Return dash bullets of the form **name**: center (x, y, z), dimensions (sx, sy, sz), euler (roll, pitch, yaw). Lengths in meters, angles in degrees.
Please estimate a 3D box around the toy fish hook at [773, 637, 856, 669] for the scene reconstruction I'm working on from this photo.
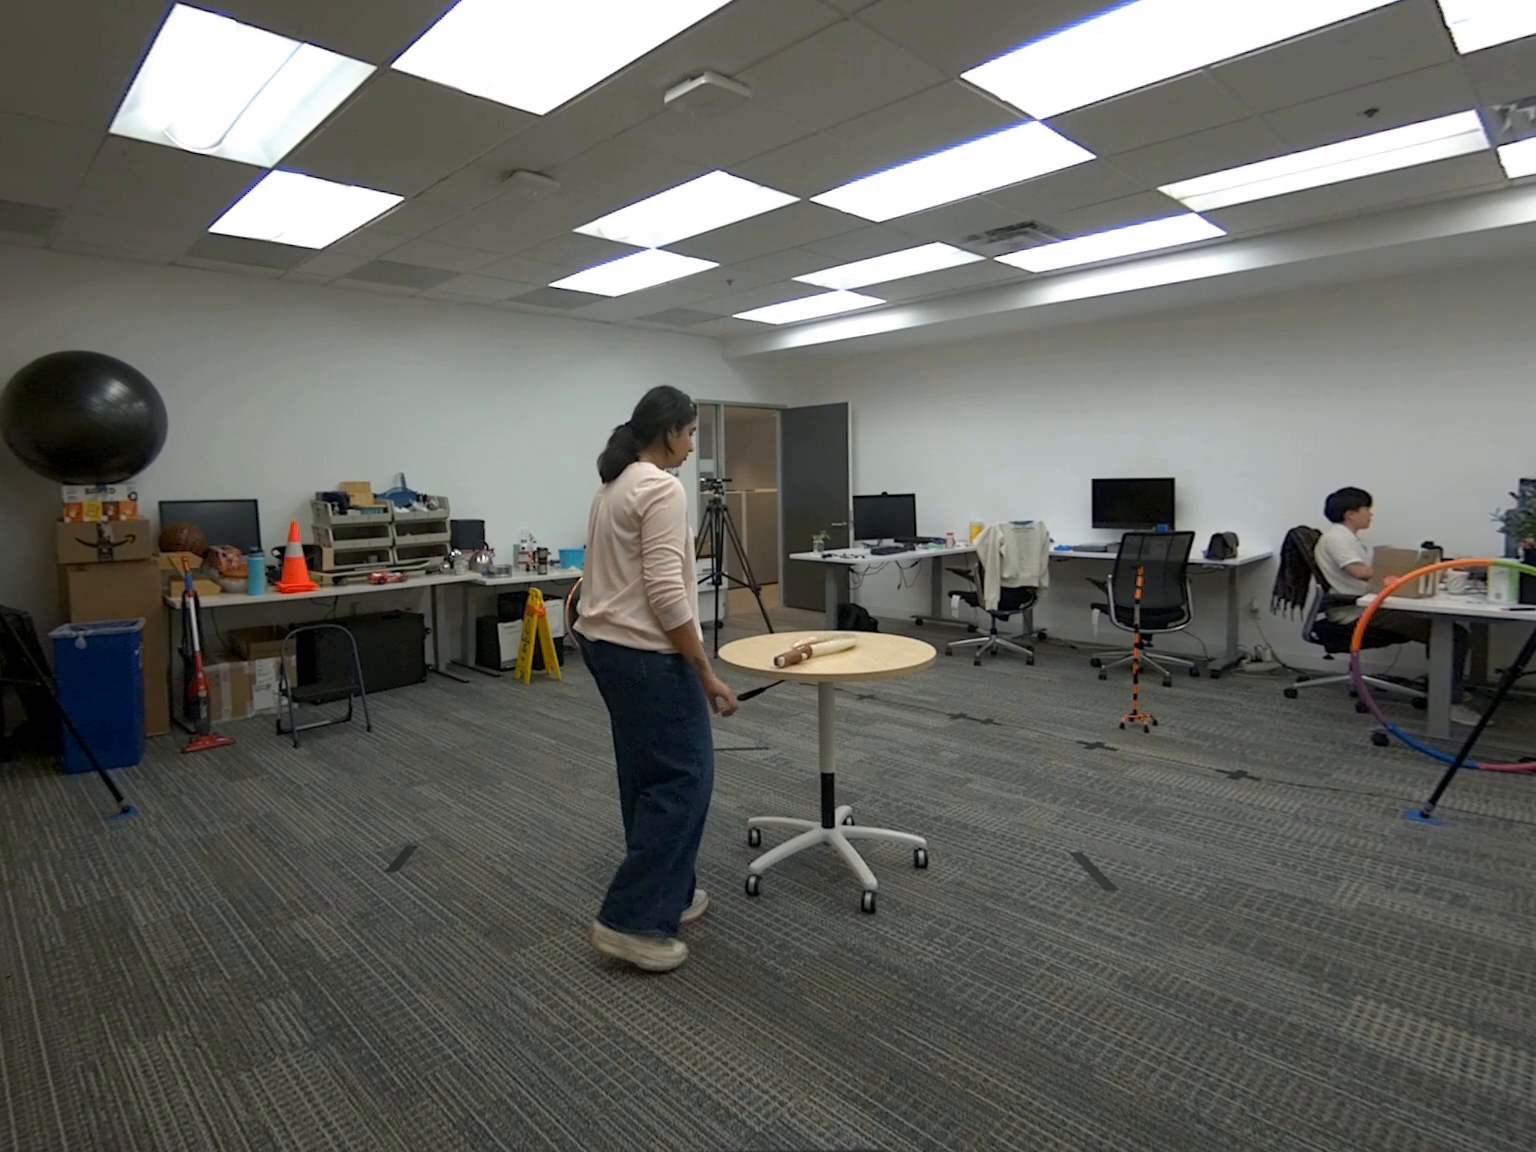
- **toy fish hook**: center (0.134, 0.256, 2.985), dimensions (0.230, 0.048, 0.494), euler (-8, 1, 36)
